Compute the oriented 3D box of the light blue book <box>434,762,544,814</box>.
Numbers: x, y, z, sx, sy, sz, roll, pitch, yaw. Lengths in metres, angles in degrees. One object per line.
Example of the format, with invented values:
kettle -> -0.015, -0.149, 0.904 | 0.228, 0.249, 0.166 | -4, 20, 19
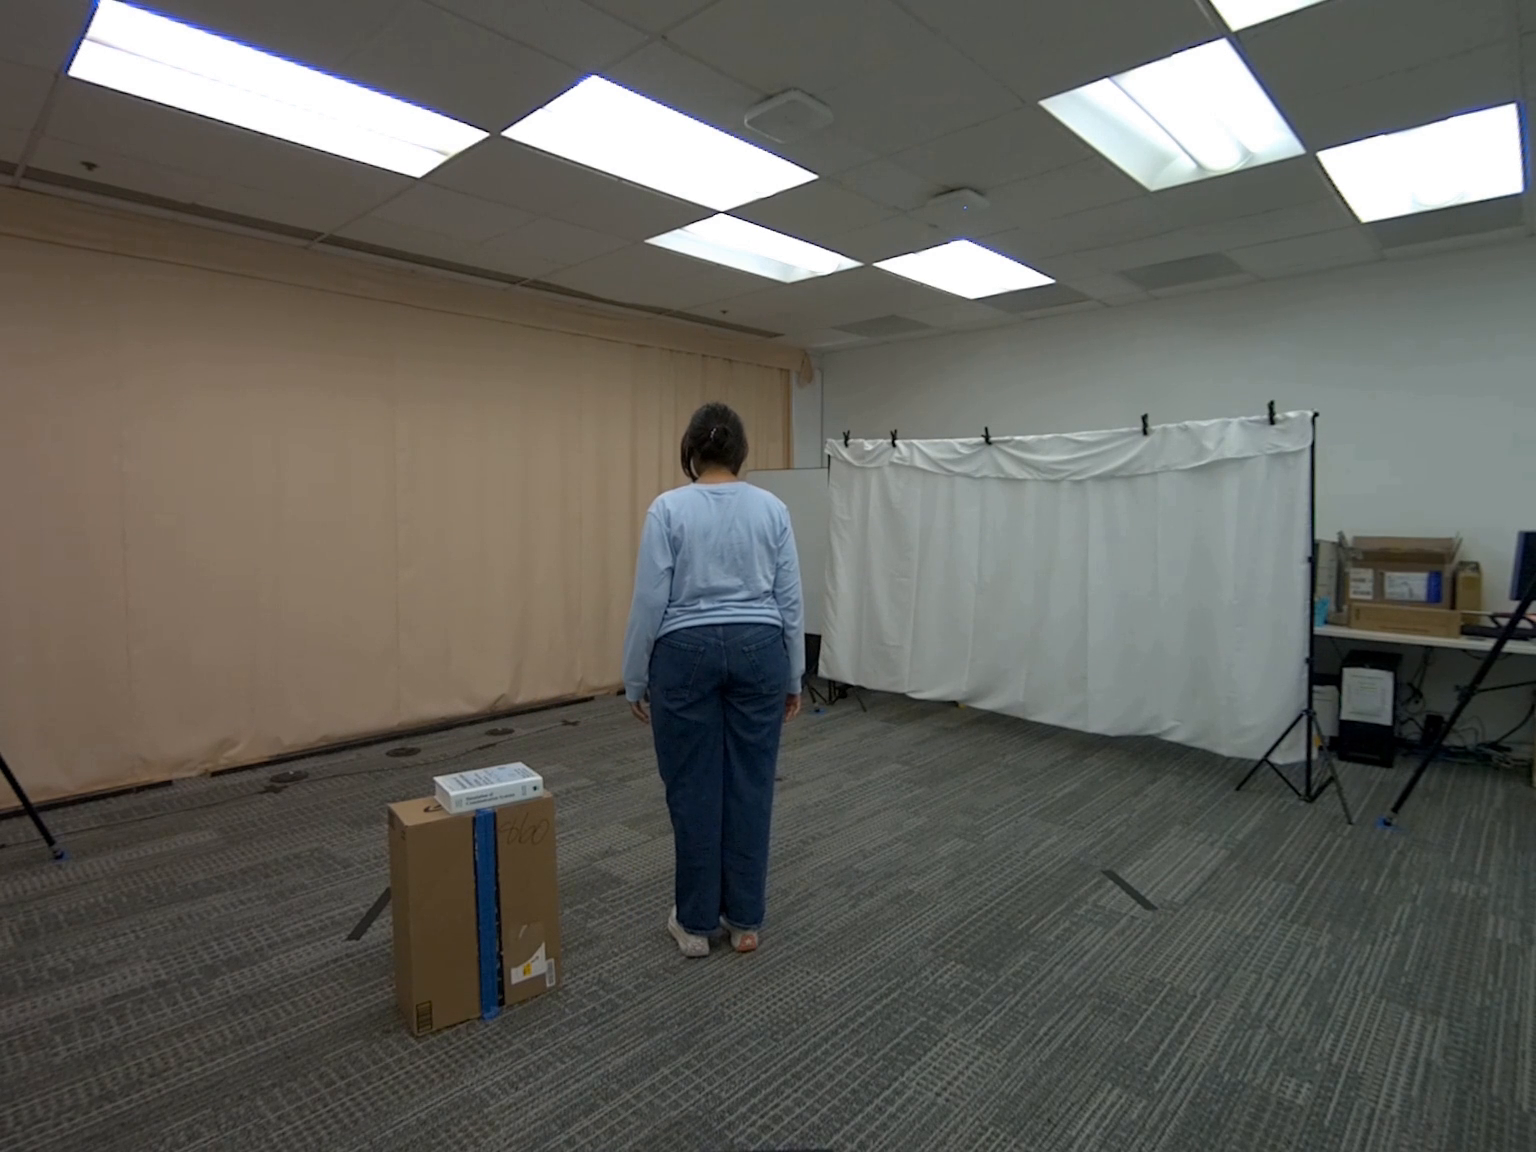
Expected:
light blue book -> -0.796, 0.601, 2.413 | 0.253, 0.059, 0.197 | -3, 4, -34
